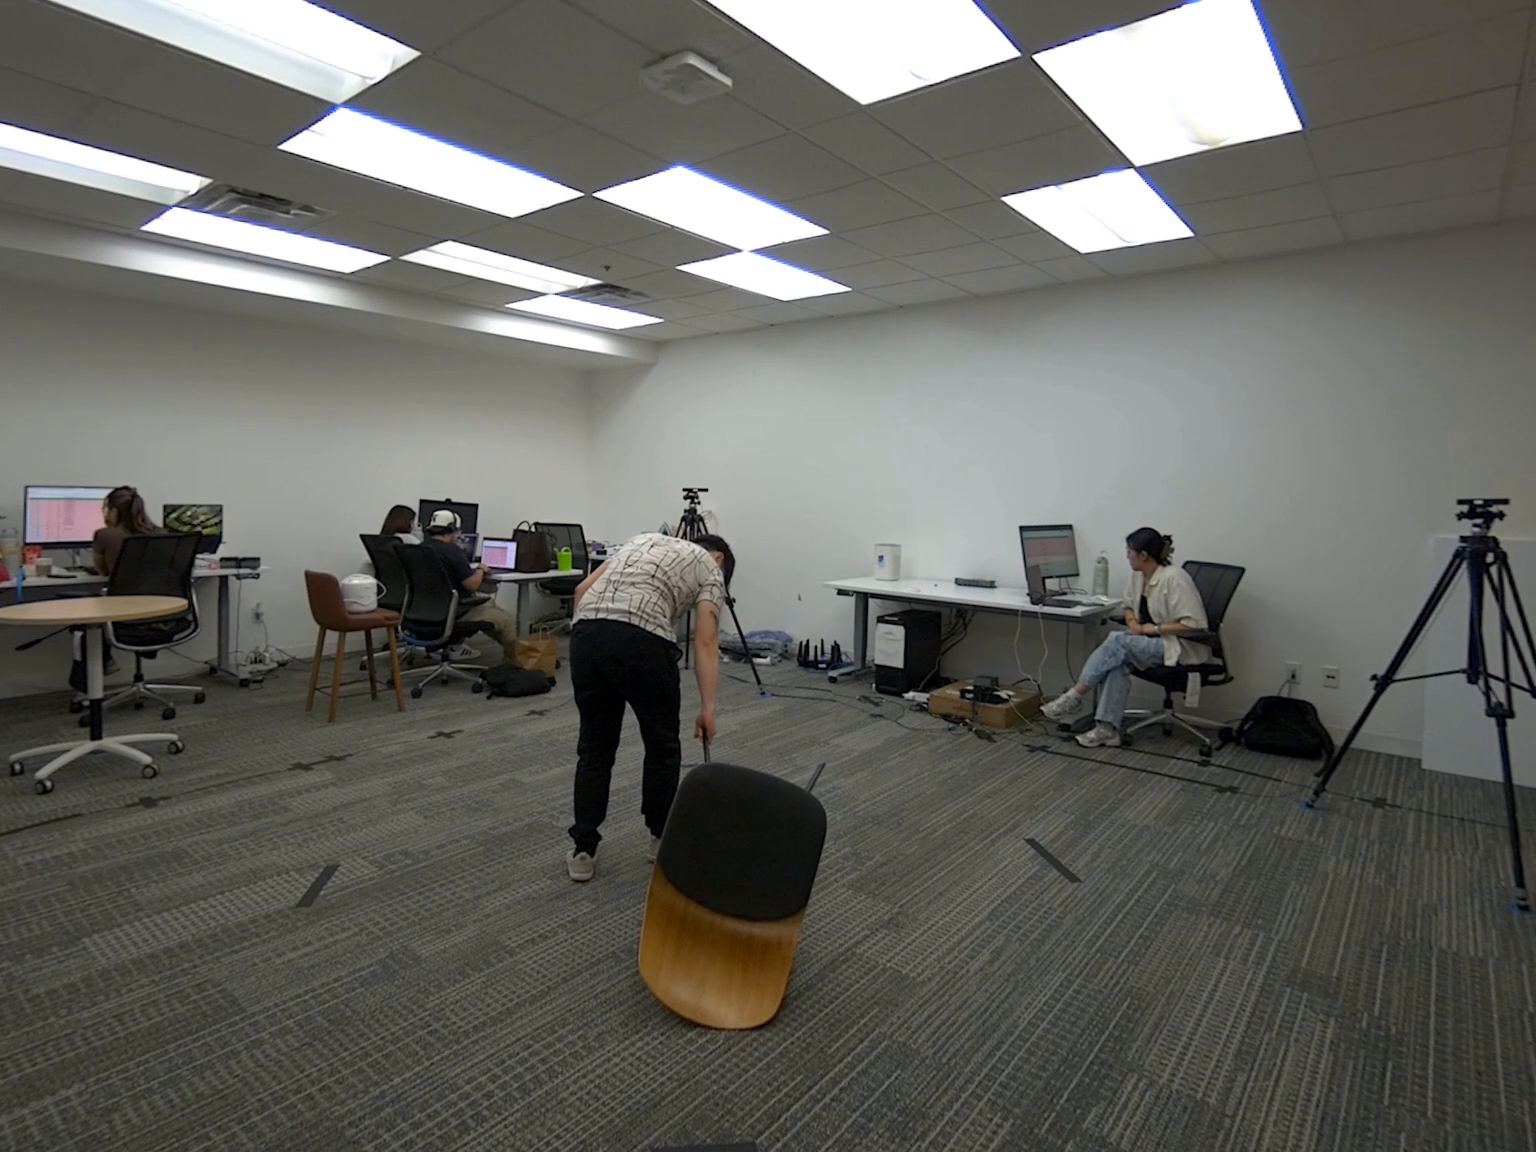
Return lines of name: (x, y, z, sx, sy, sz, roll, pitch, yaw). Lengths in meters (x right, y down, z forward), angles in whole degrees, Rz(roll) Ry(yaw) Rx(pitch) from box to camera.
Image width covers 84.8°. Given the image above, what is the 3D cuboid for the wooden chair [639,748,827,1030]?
wooden chair: (-0.089, 0.845, 2.582, 0.480, 0.520, 0.880, 16, 10, 1)
